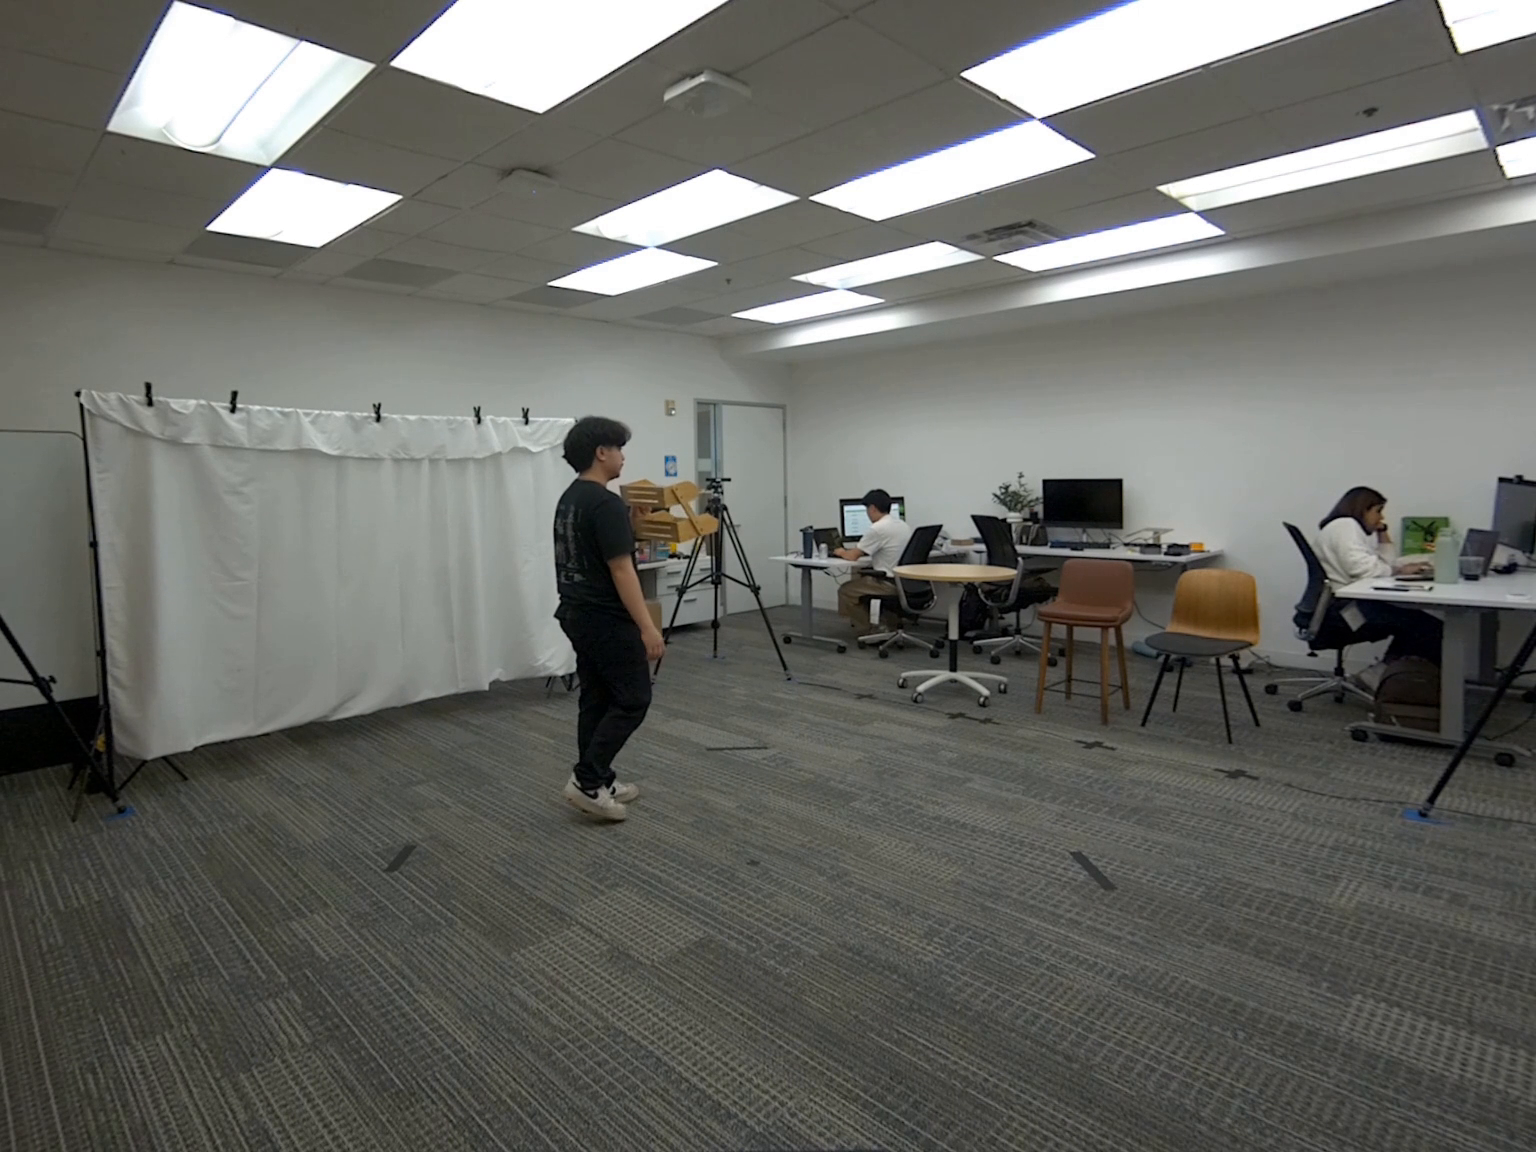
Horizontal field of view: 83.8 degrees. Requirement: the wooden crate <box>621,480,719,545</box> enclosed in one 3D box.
[{"bbox_3d":[-0.445,-0.311,3.858,0.335,0.270,0.296,6,19,44],"label":"wooden crate"}]
